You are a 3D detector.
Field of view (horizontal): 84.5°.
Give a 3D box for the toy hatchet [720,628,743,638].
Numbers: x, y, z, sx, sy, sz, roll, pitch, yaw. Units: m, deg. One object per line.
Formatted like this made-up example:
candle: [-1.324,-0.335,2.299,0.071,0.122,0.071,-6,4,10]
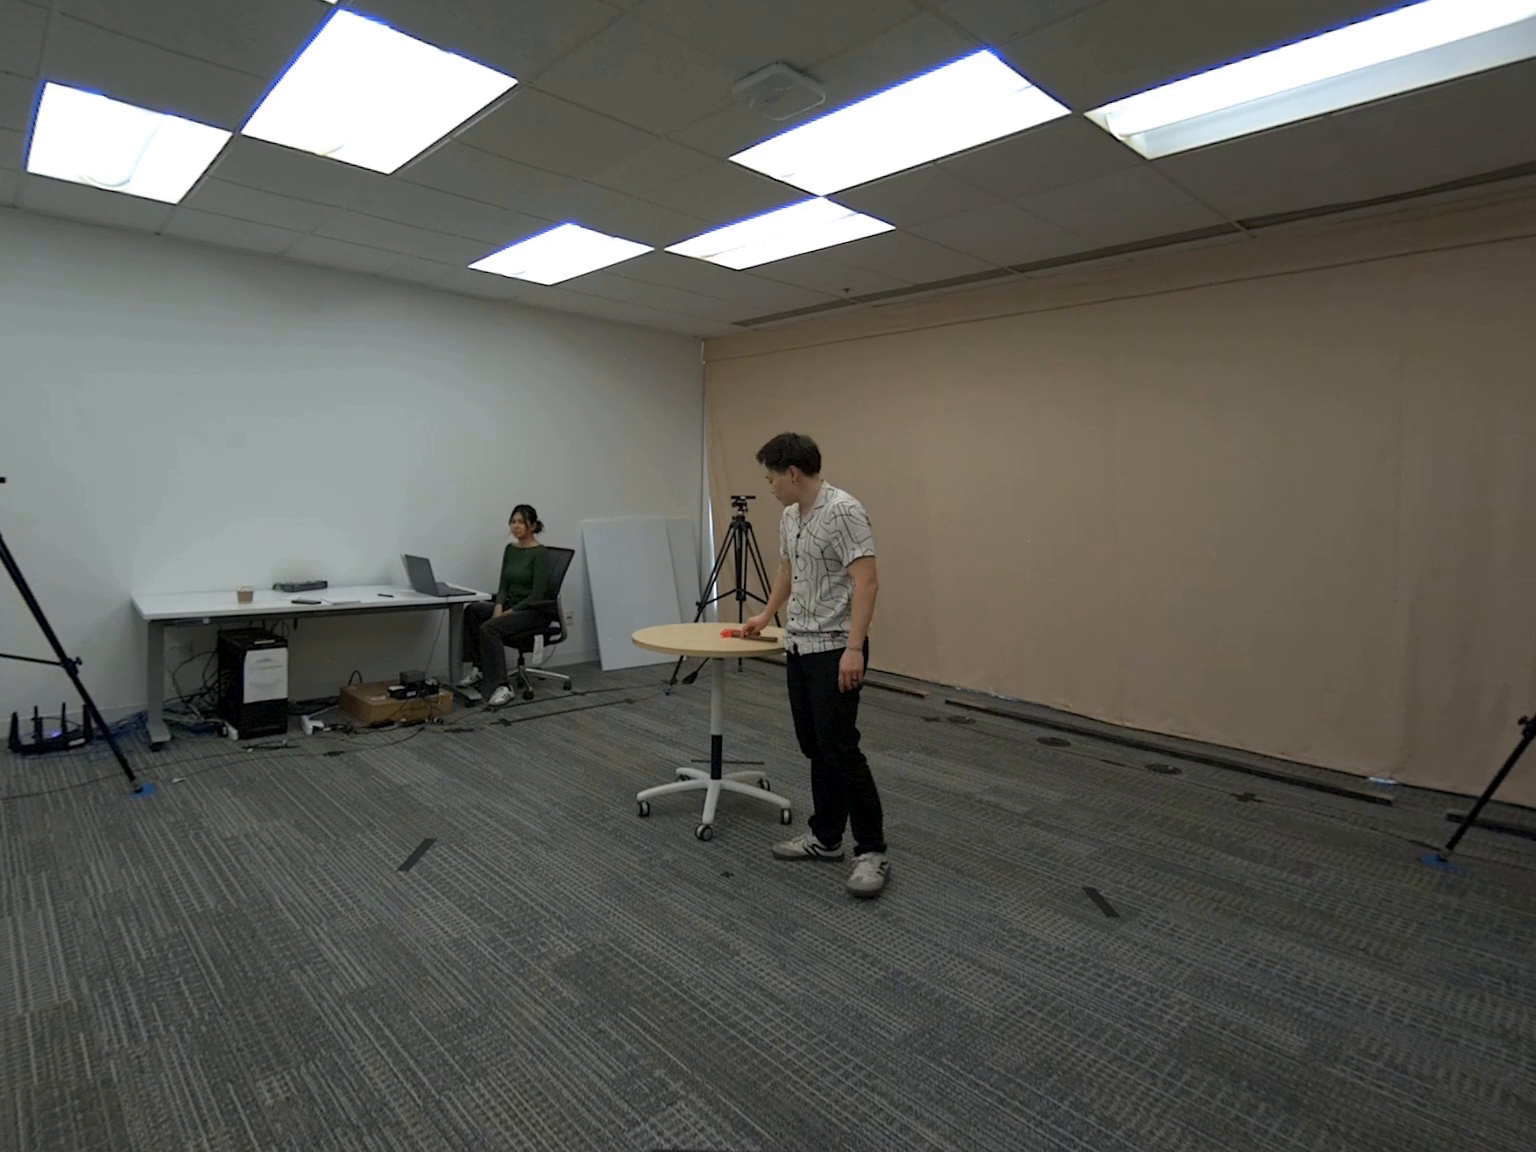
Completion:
toy hatchet: [-0.072,0.257,3.664,0.275,0.029,0.129,4,9,22]
